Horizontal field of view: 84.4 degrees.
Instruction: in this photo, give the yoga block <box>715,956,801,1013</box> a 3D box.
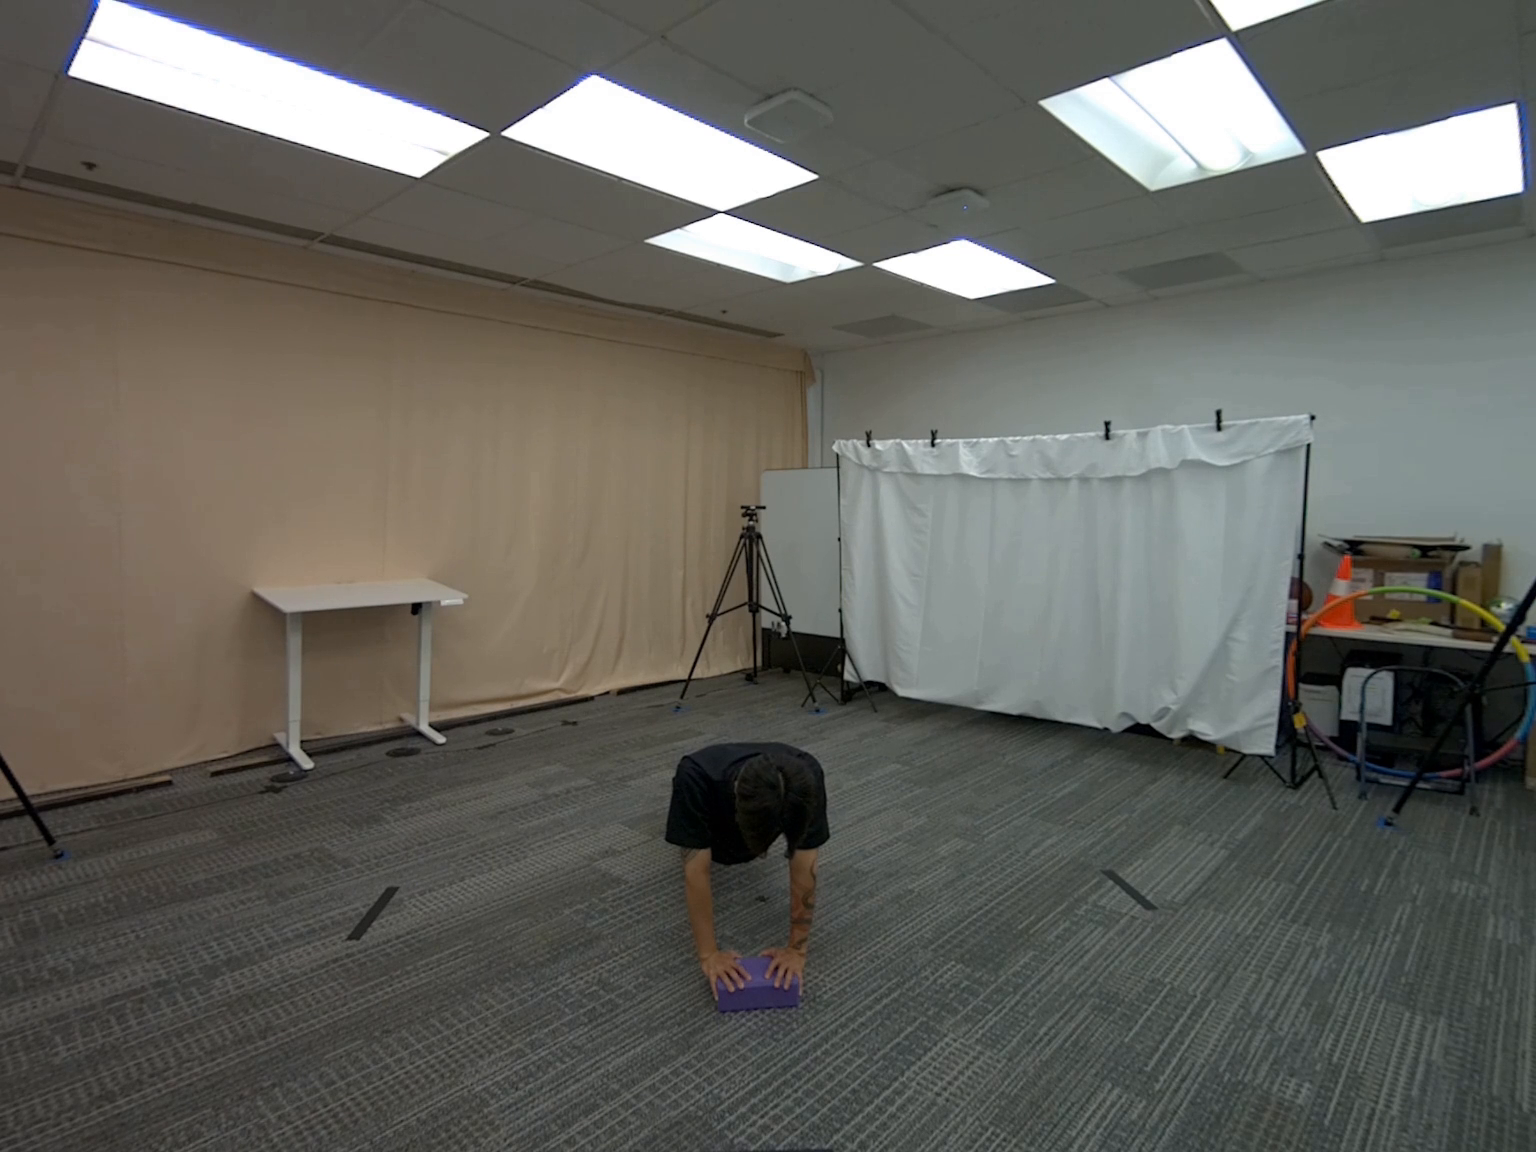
[{"bbox_3d":[-0.035,1.152,2.394,0.227,0.076,0.150,0,4,-8],"label":"yoga block"}]
